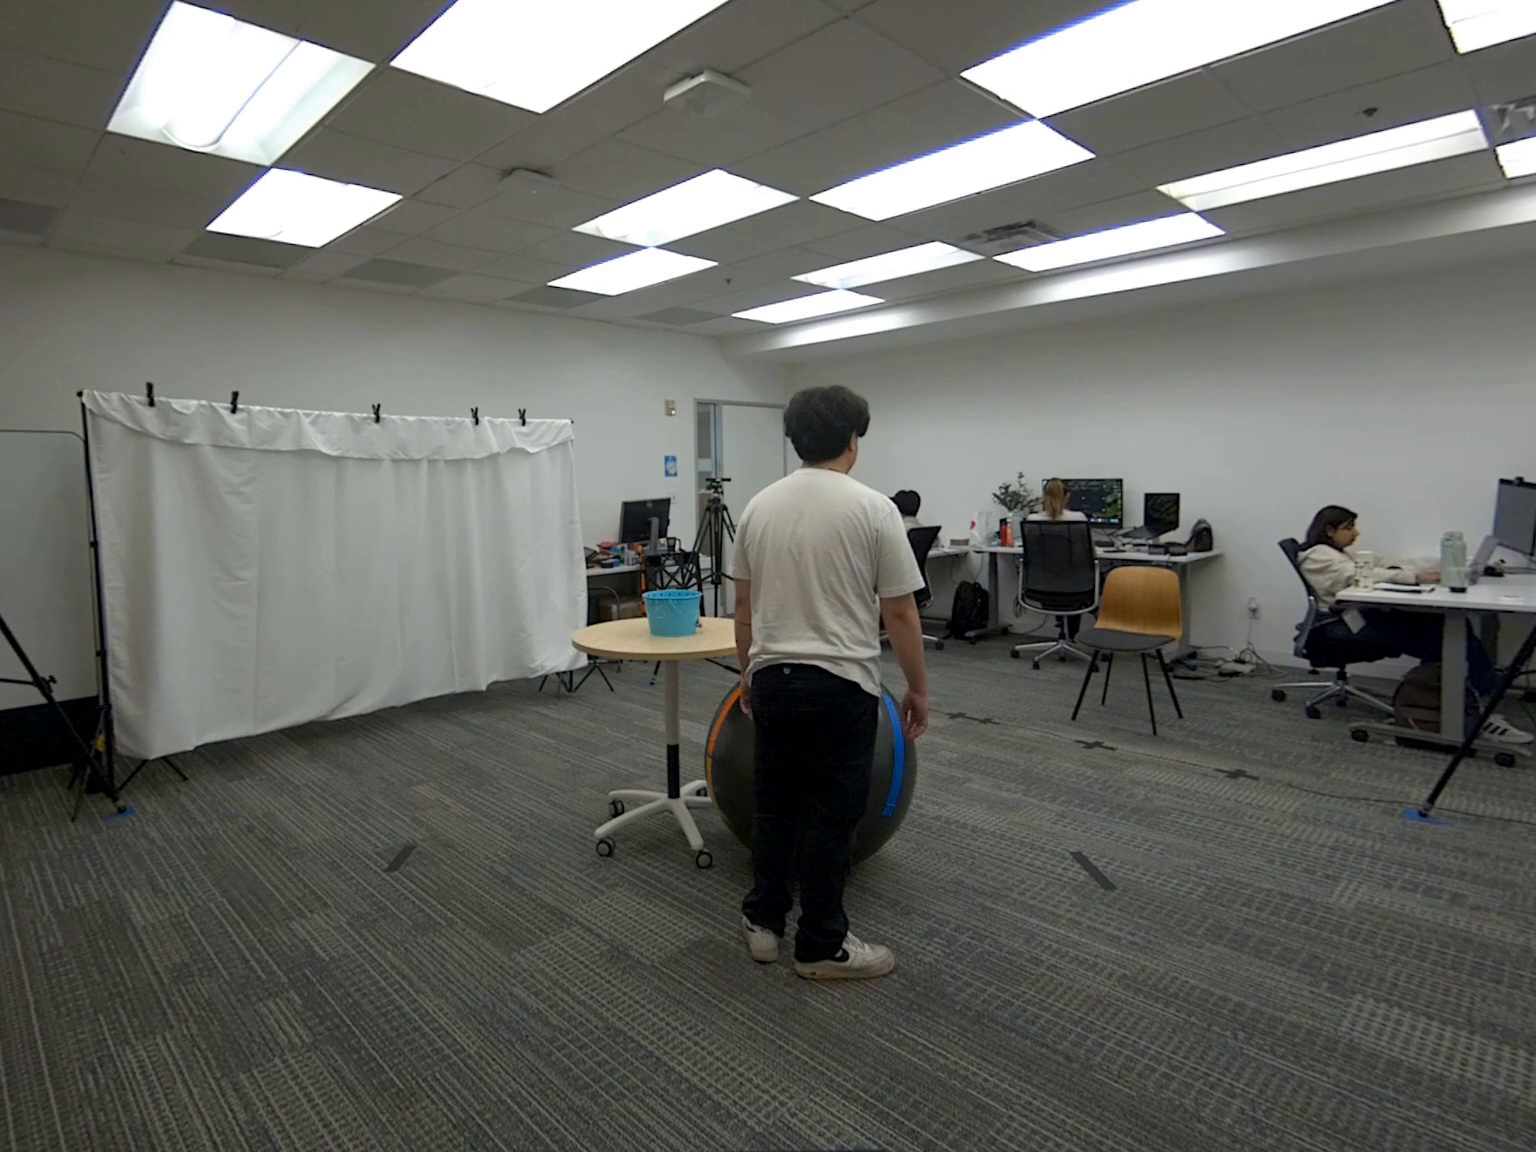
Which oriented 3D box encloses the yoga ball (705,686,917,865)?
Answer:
[{"bbox_3d":[0.157,0.669,3.091,0.757,0.755,0.762,-1,5,-2],"label":"yoga ball"}]
